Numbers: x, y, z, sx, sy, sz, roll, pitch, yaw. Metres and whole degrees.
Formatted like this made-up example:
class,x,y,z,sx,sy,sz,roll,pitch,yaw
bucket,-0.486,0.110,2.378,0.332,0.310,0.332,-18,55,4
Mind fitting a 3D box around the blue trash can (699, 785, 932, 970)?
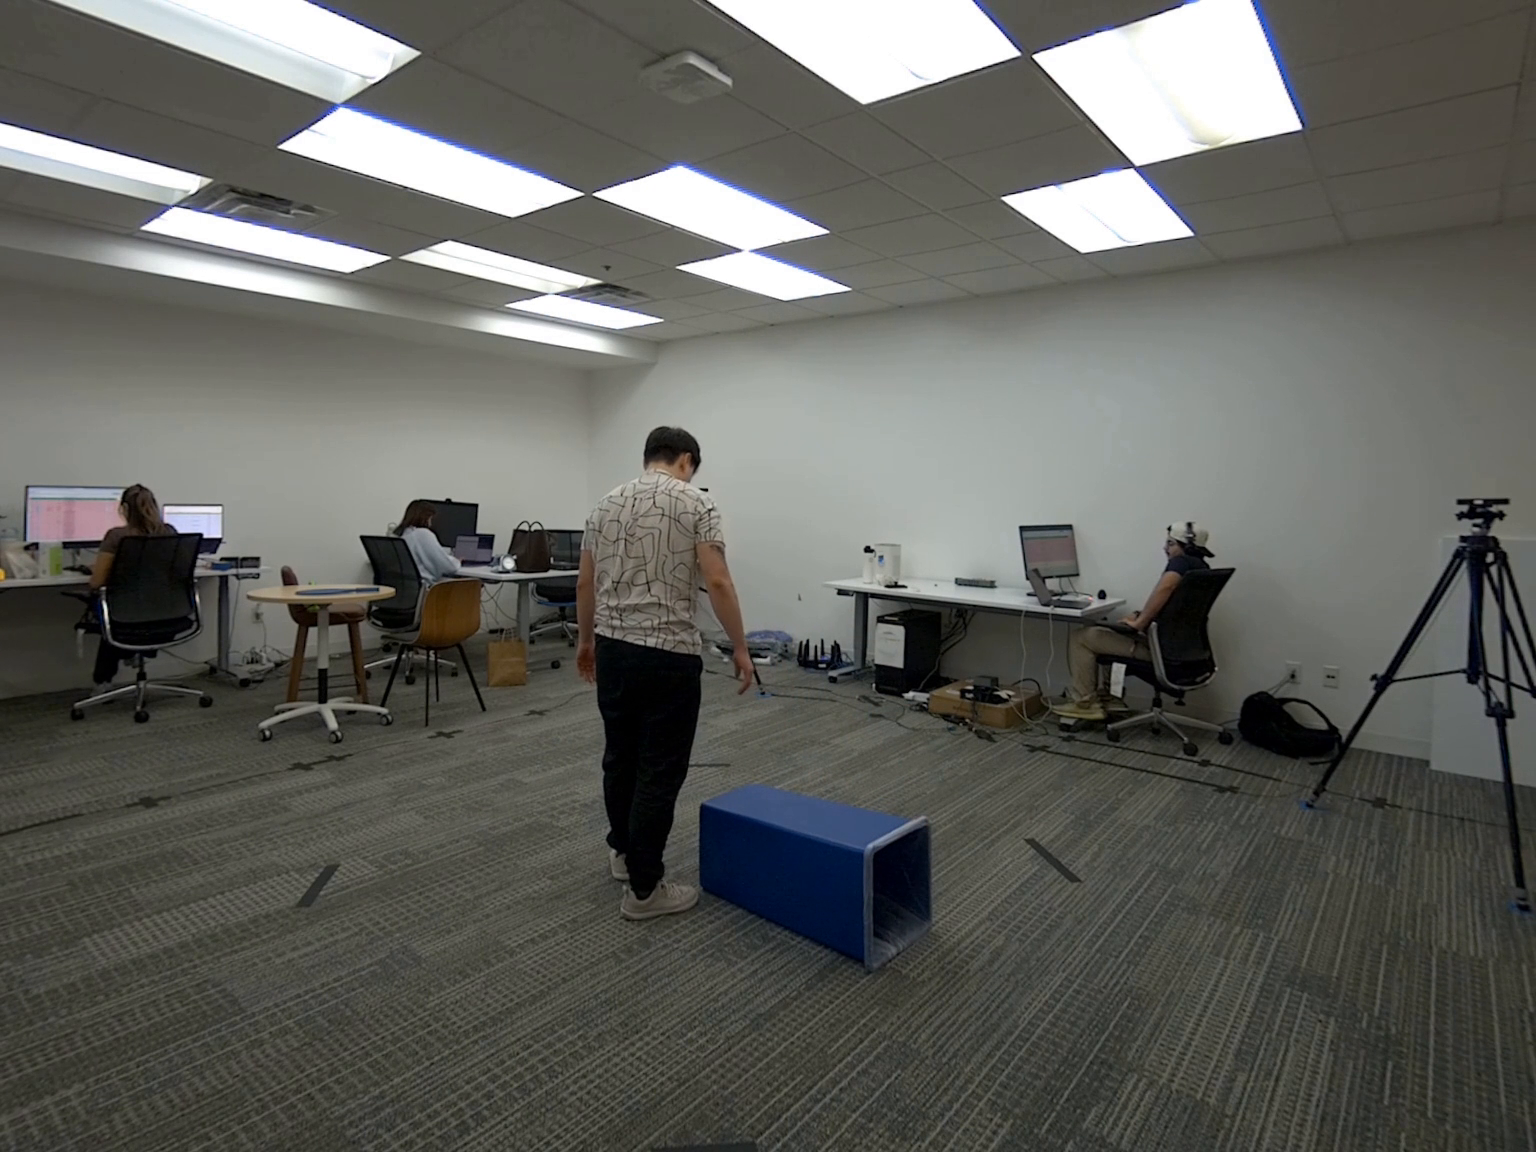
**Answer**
class,x,y,z,sx,sy,sz,roll,pitch,yaw
blue trash can,0.121,0.932,2.819,0.737,0.377,0.363,3,5,41
